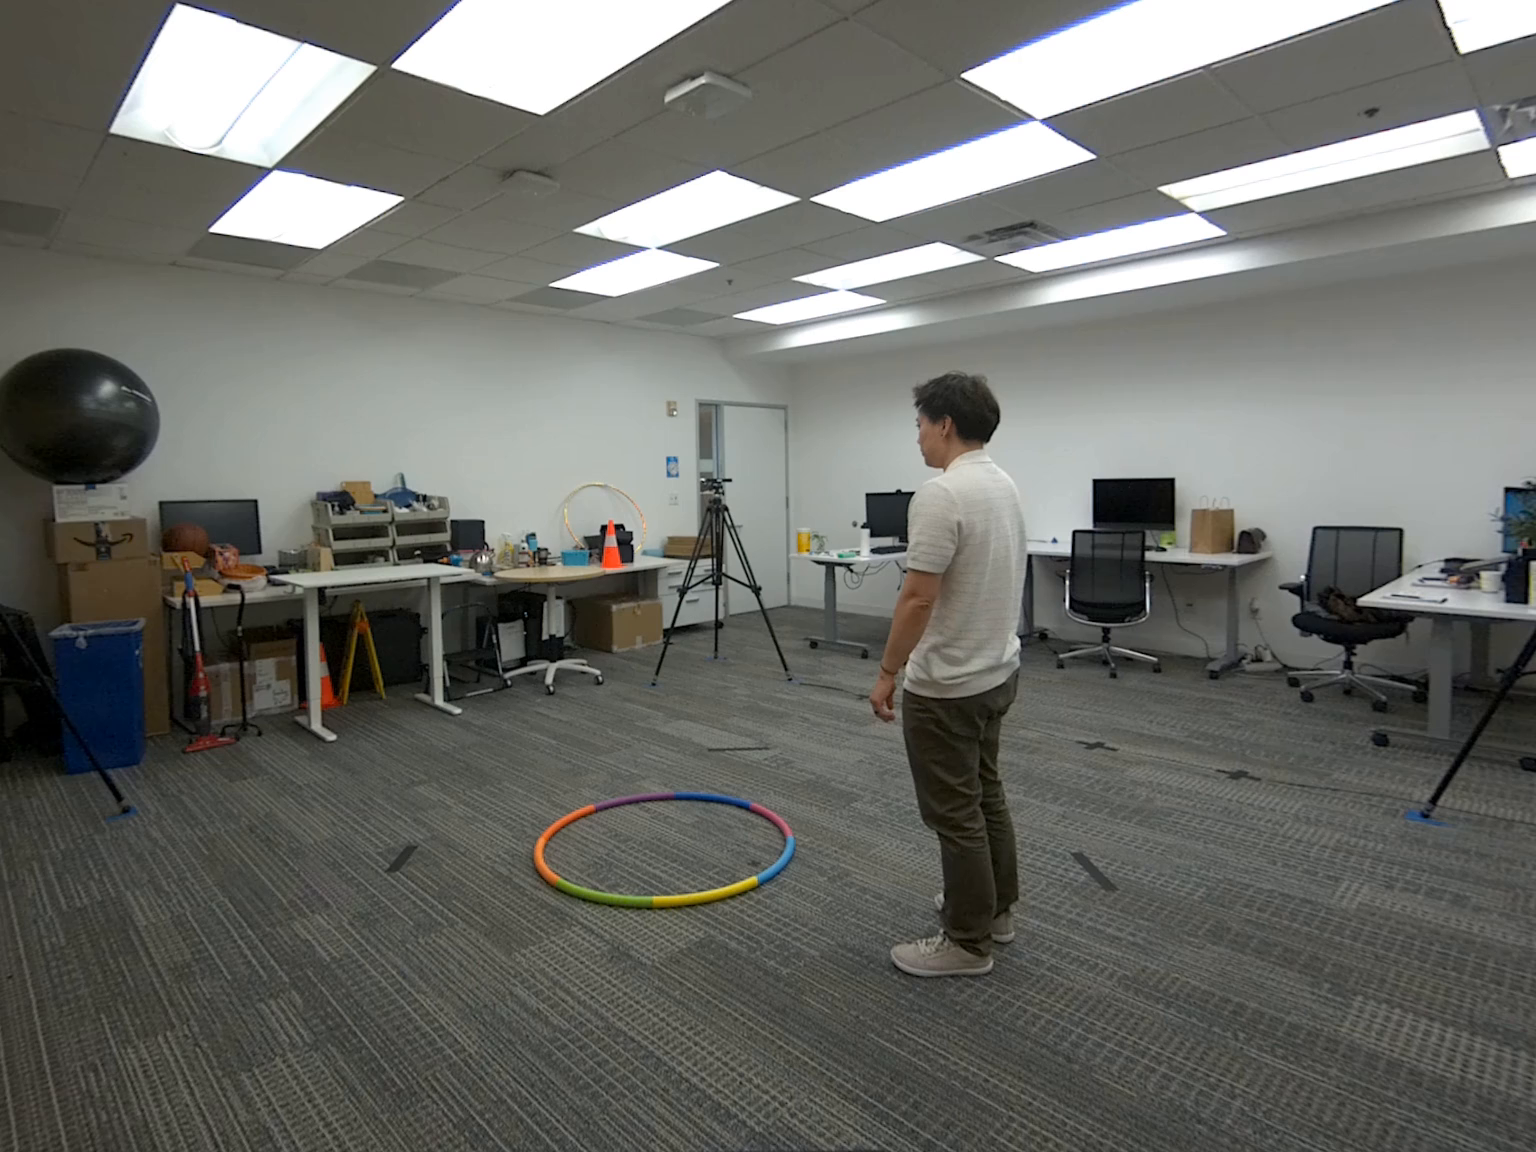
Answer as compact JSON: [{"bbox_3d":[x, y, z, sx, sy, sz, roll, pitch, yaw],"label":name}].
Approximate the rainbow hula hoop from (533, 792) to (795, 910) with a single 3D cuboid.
[{"bbox_3d":[-0.391,1.001,3.267,0.978,0.035,0.984,-1,6,-2],"label":"rainbow hula hoop"}]
